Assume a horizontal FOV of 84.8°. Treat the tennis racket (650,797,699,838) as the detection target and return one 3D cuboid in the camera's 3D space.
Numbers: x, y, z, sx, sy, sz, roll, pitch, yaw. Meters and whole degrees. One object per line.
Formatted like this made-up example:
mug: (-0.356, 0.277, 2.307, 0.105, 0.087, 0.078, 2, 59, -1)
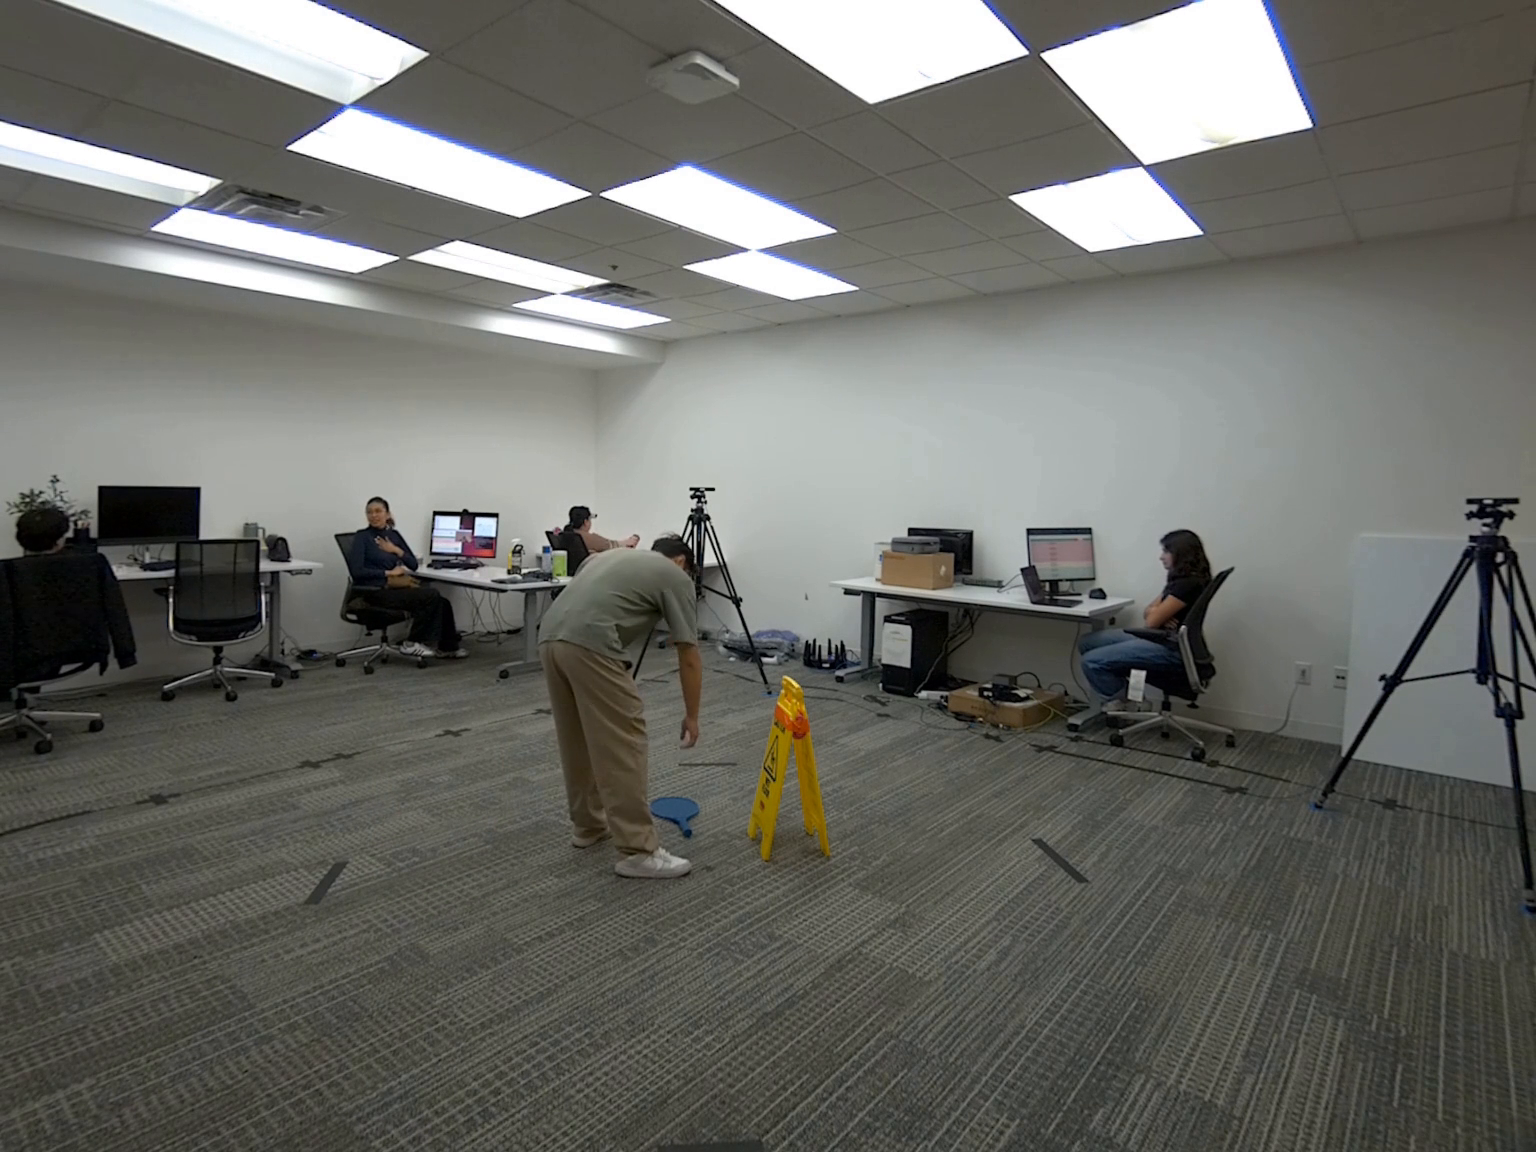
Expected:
tennis racket: (-0.392, 1.000, 3.592, 0.210, 0.032, 0.441, -1, 4, -16)
